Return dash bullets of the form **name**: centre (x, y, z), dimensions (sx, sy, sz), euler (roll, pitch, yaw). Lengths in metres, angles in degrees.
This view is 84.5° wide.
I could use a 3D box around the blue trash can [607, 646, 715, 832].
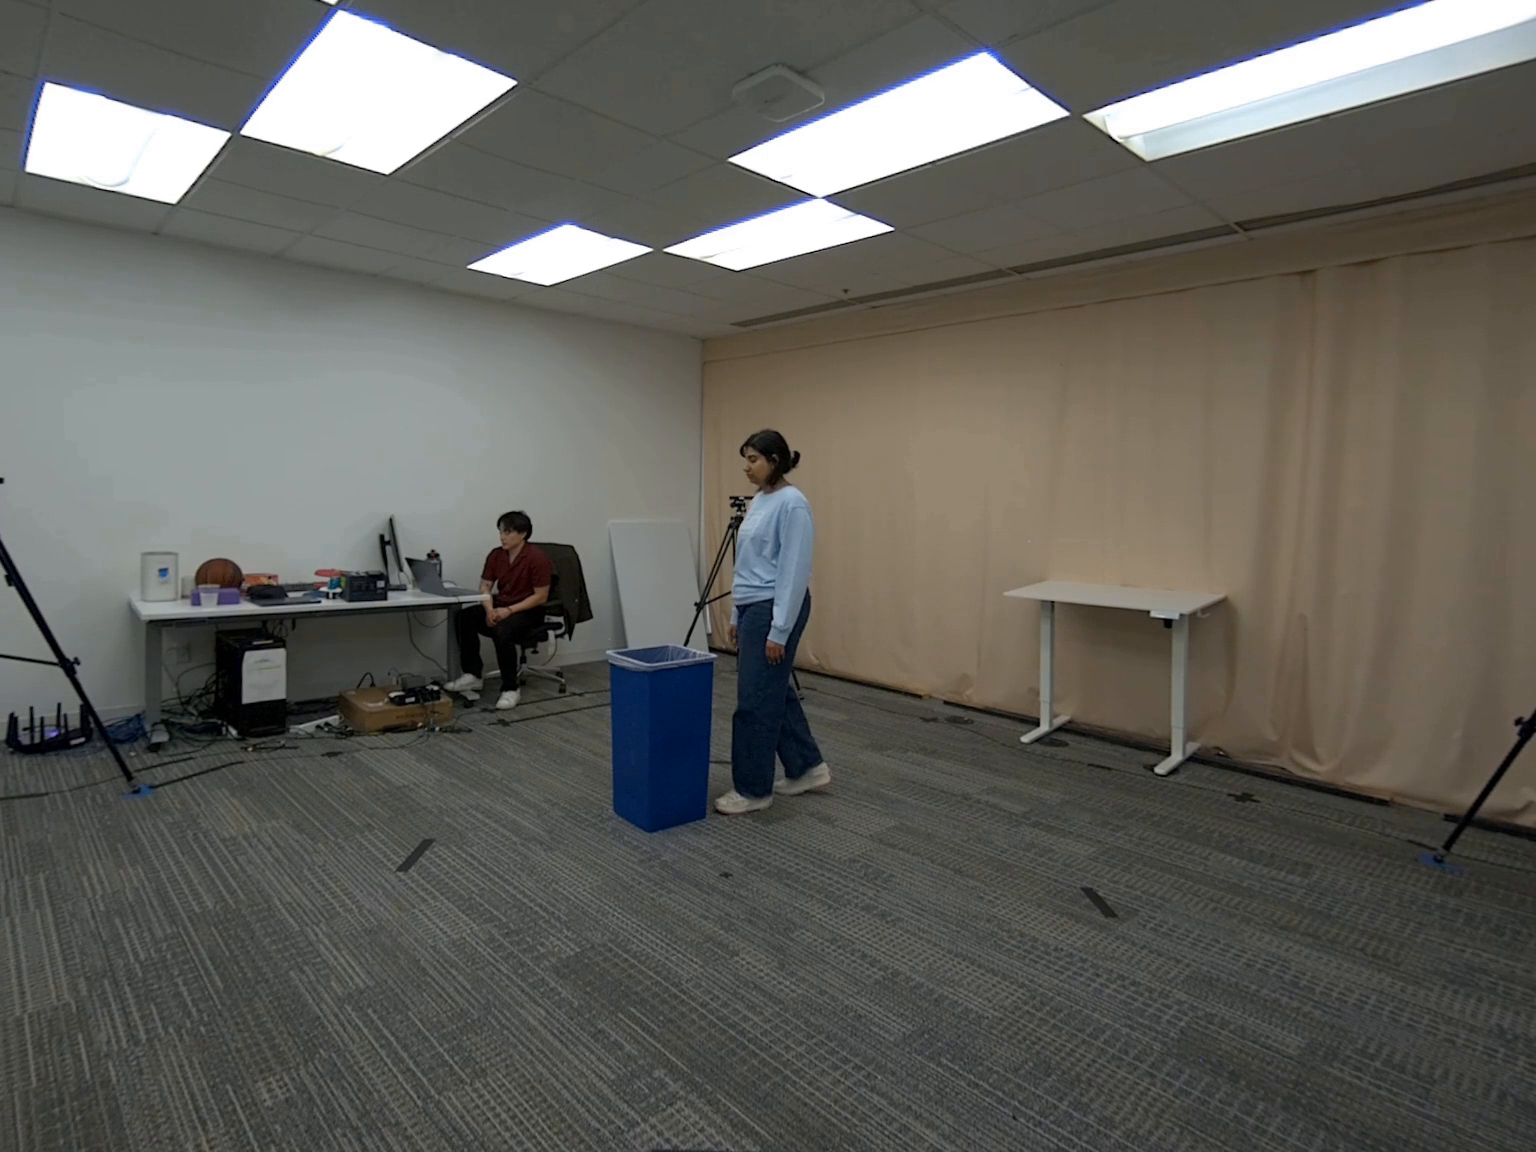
- **blue trash can**: centre (-0.480, 0.692, 3.658), dimensions (0.365, 0.712, 0.387), euler (-2, 4, -40)
